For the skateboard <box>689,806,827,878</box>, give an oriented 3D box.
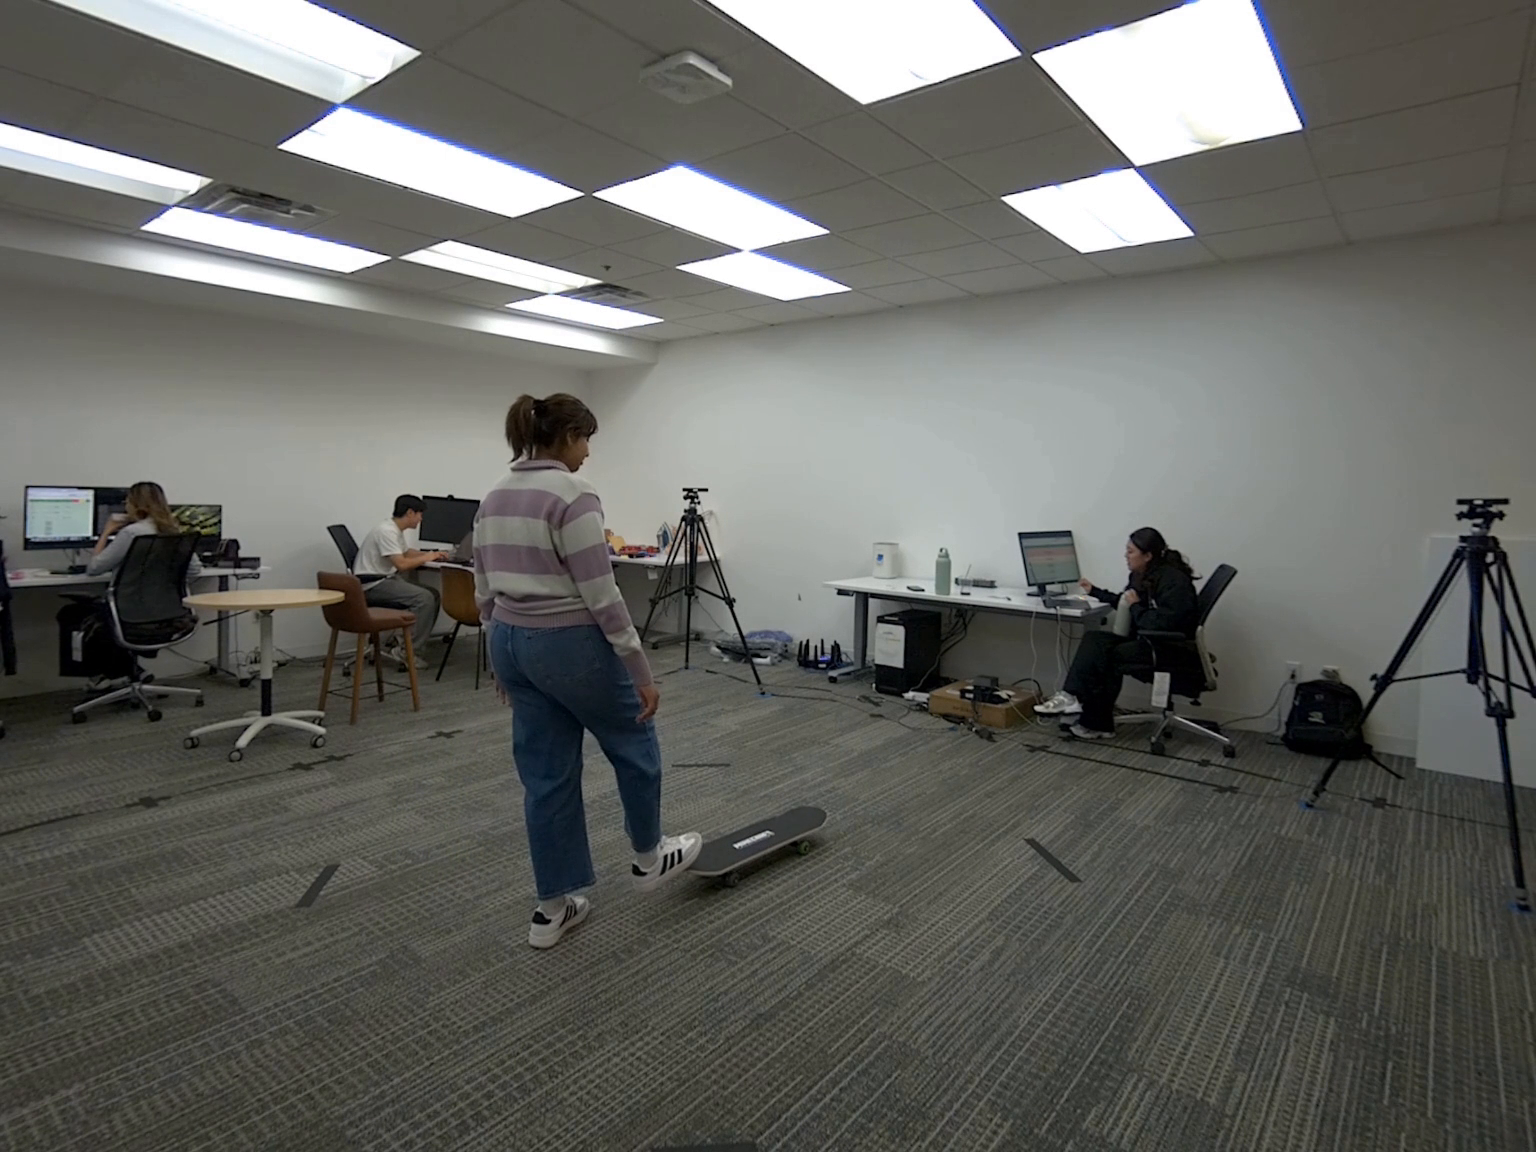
[{"bbox_3d":[-0.057,1.010,3.177,0.200,0.110,0.762,7,8,42],"label":"skateboard"}]
